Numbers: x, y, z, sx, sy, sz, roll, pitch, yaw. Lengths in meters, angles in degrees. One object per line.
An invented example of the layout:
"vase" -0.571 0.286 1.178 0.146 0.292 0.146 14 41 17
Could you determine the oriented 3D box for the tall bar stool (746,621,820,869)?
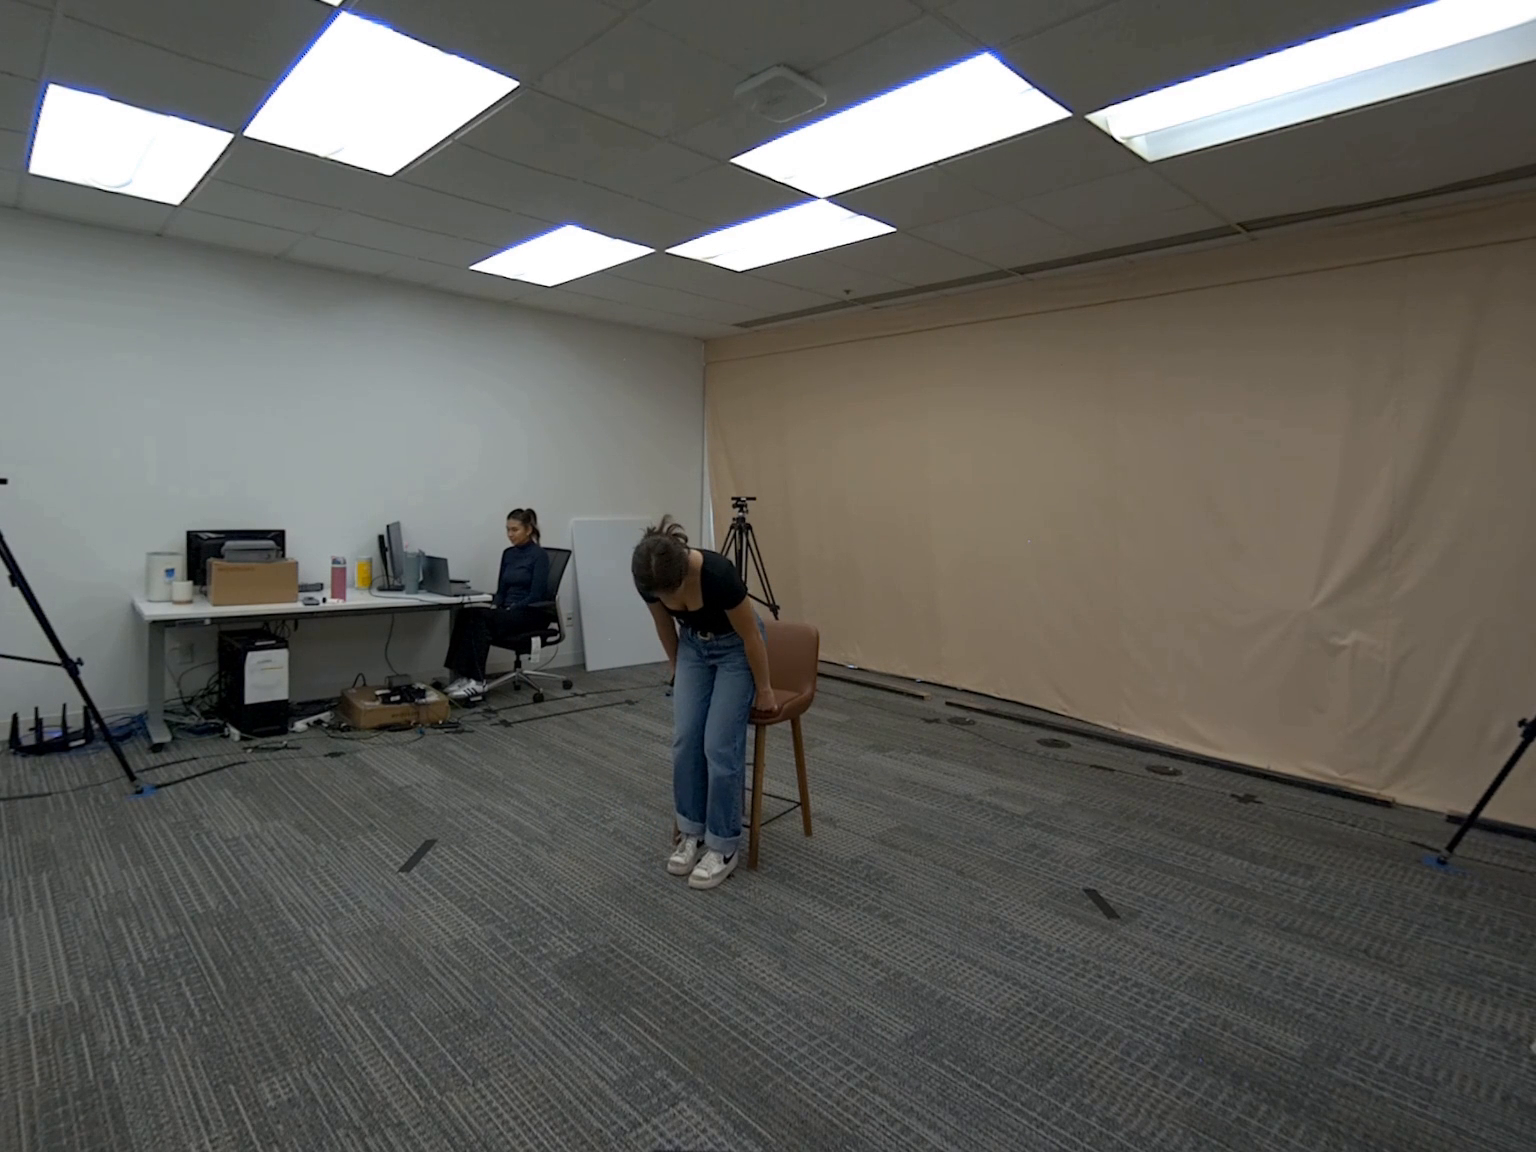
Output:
"tall bar stool" -0.079 0.650 3.427 0.467 0.888 0.457 4 3 36
